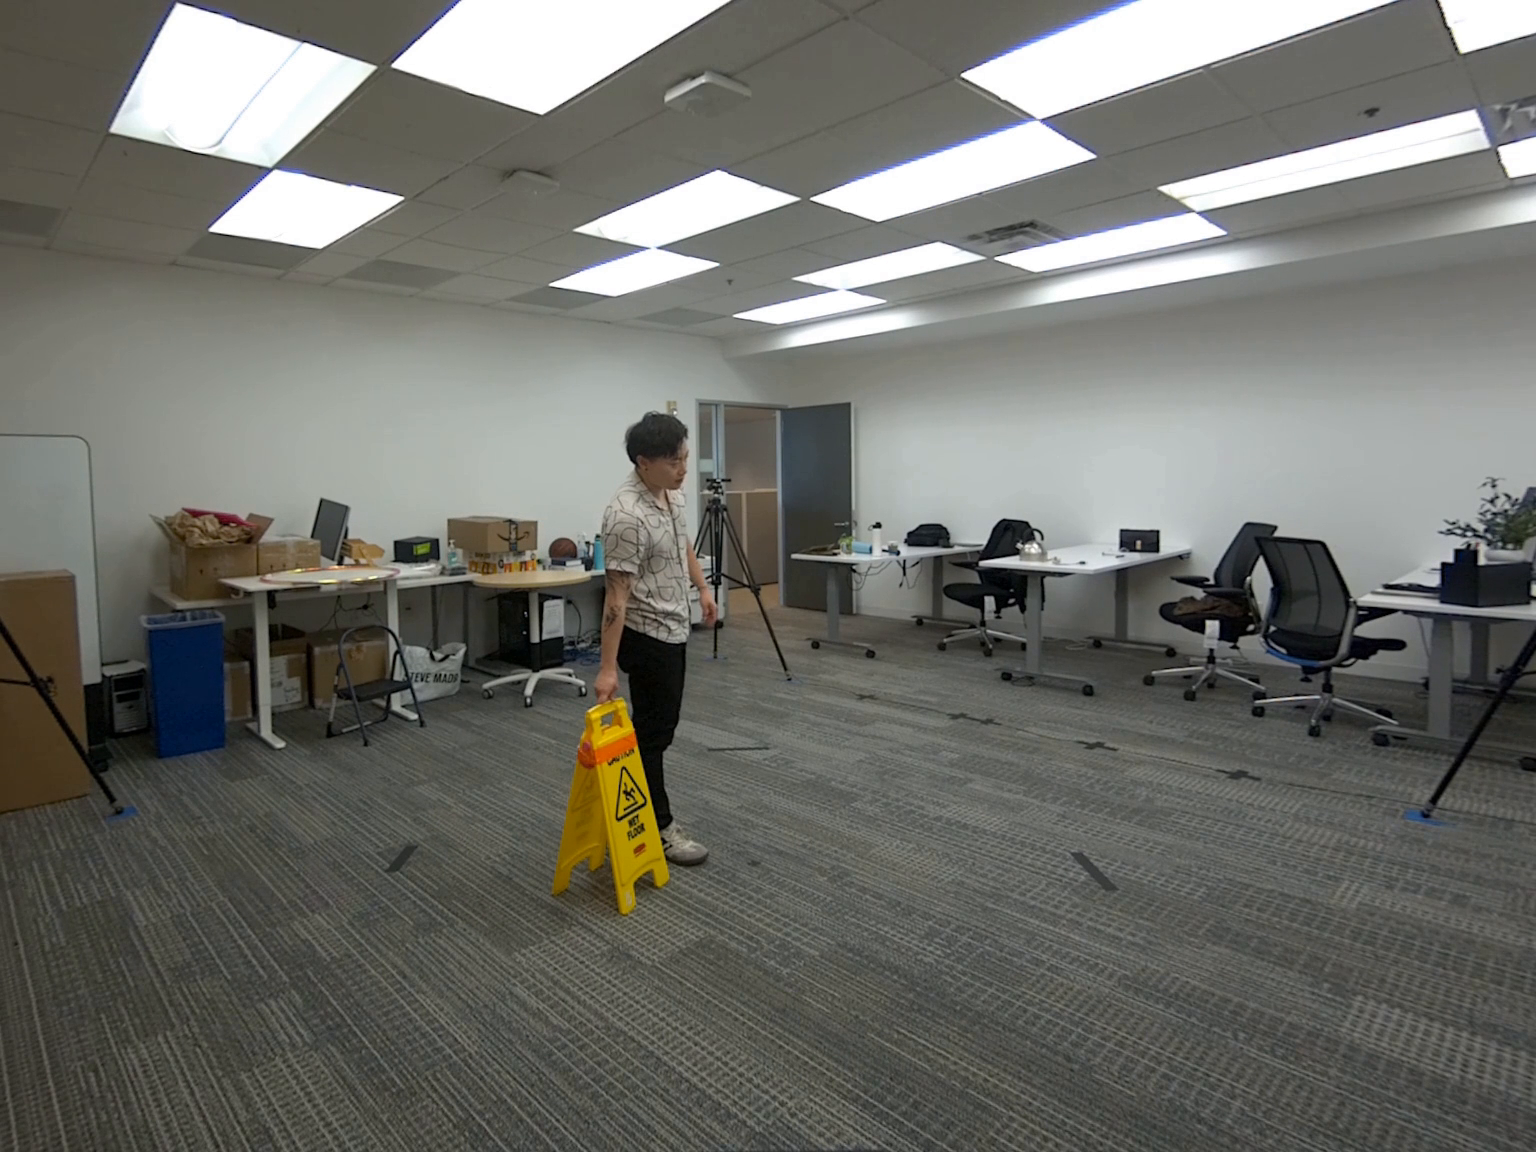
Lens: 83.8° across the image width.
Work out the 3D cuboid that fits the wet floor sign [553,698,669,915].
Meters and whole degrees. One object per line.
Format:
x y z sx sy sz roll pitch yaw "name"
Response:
-0.542 0.754 2.914 0.297 0.643 0.276 2 5 27 "wet floor sign"
